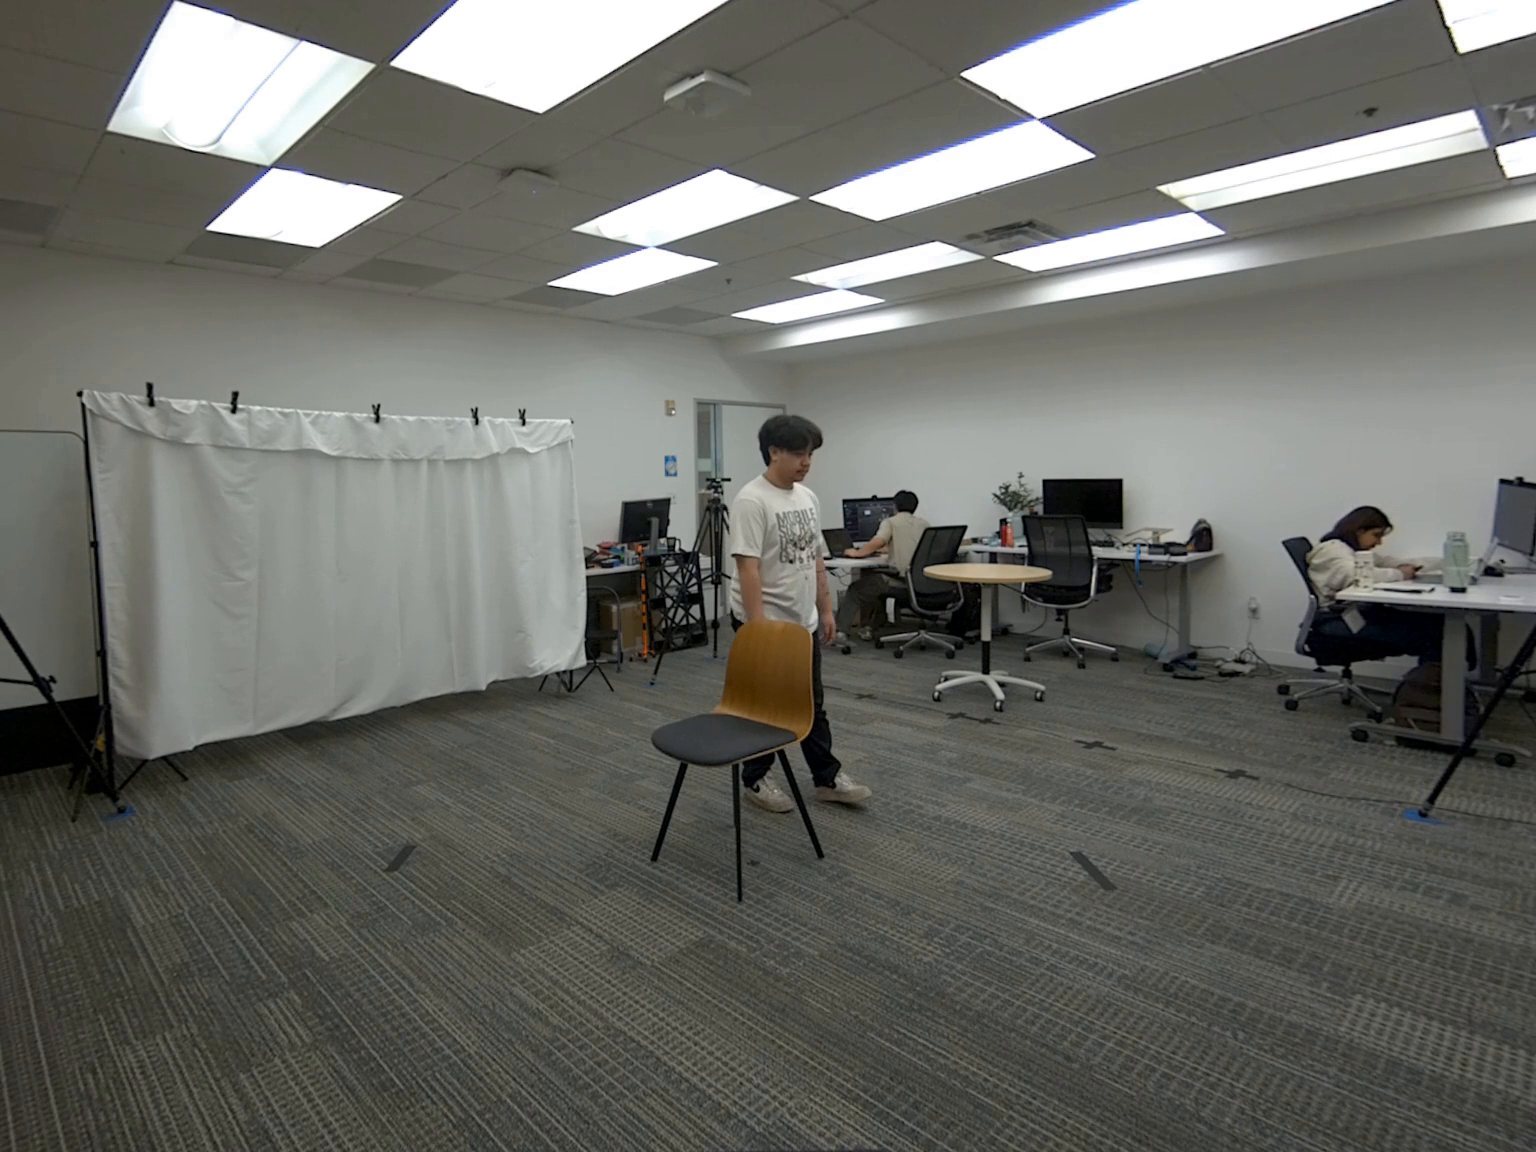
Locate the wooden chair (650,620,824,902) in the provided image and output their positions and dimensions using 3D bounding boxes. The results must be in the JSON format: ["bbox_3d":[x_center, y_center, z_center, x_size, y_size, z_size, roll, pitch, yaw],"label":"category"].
[{"bbox_3d":[-0.122,0.617,3.094,0.493,0.877,0.508,4,2,43],"label":"wooden chair"}]
